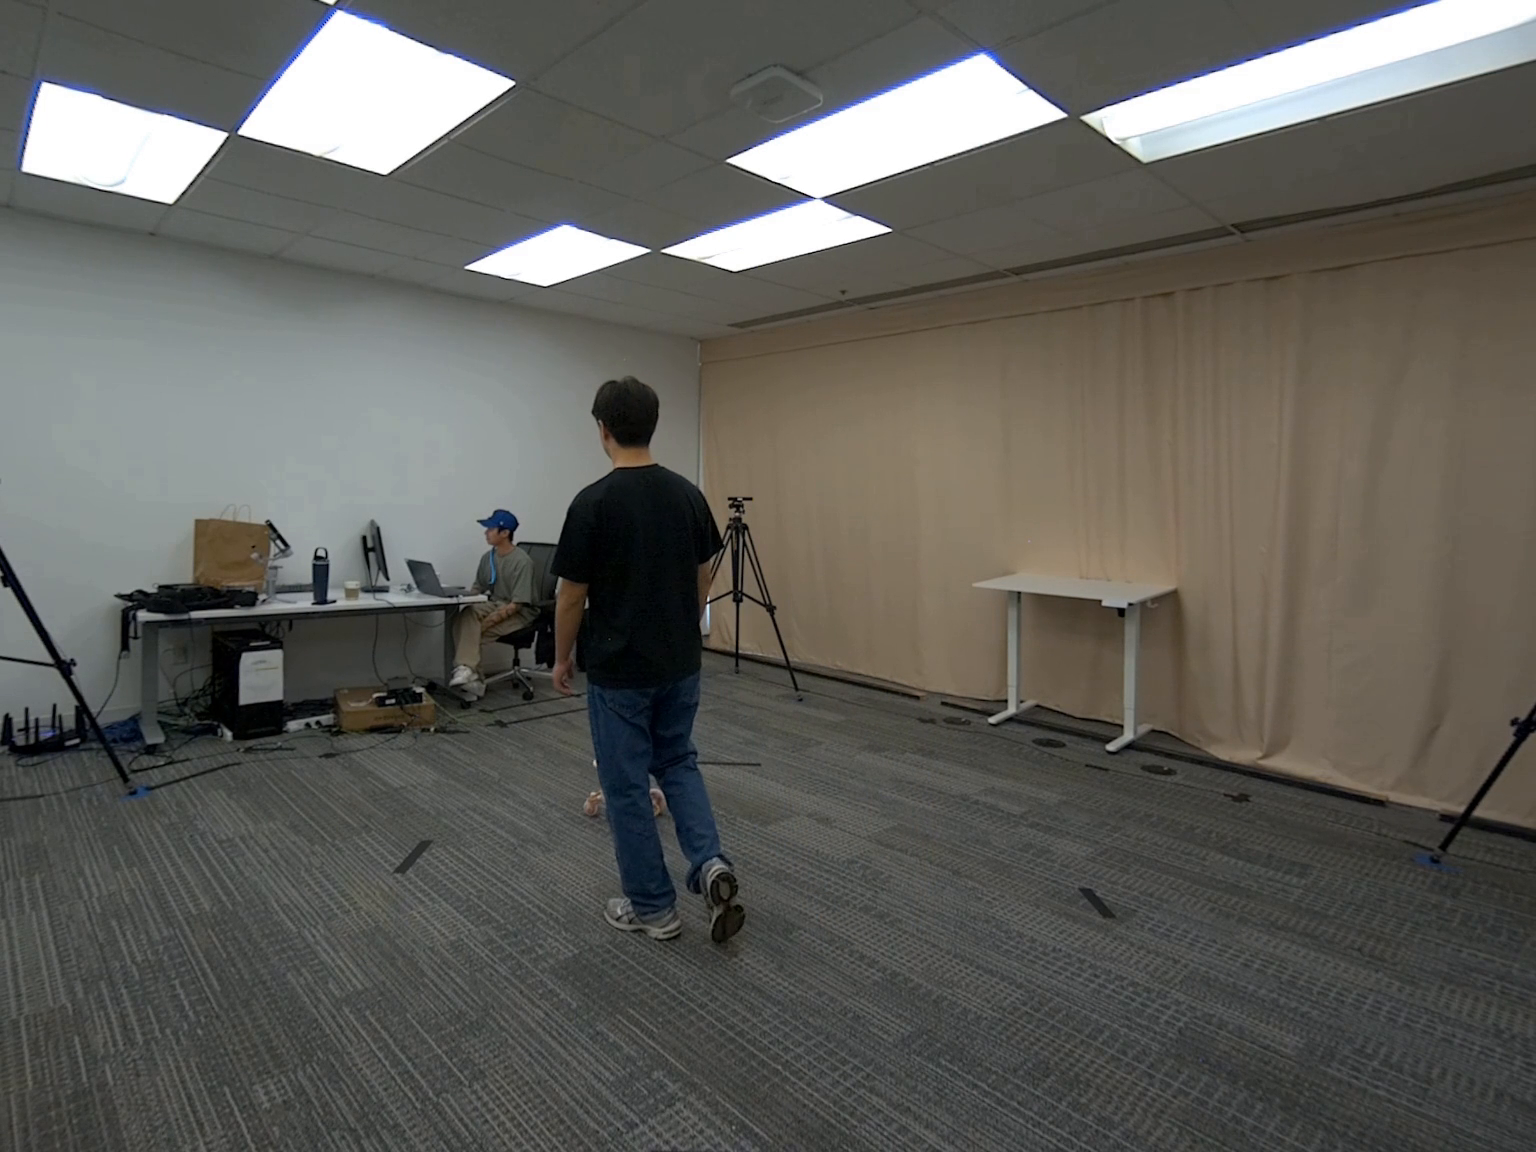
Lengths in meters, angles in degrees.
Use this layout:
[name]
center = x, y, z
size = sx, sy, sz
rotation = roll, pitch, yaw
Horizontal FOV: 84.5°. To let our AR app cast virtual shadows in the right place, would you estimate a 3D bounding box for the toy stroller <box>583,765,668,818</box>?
[toy stroller]
center = -0.588, 0.835, 3.600
size = 0.347, 0.533, 0.277
rotation = 20, 9, 18
